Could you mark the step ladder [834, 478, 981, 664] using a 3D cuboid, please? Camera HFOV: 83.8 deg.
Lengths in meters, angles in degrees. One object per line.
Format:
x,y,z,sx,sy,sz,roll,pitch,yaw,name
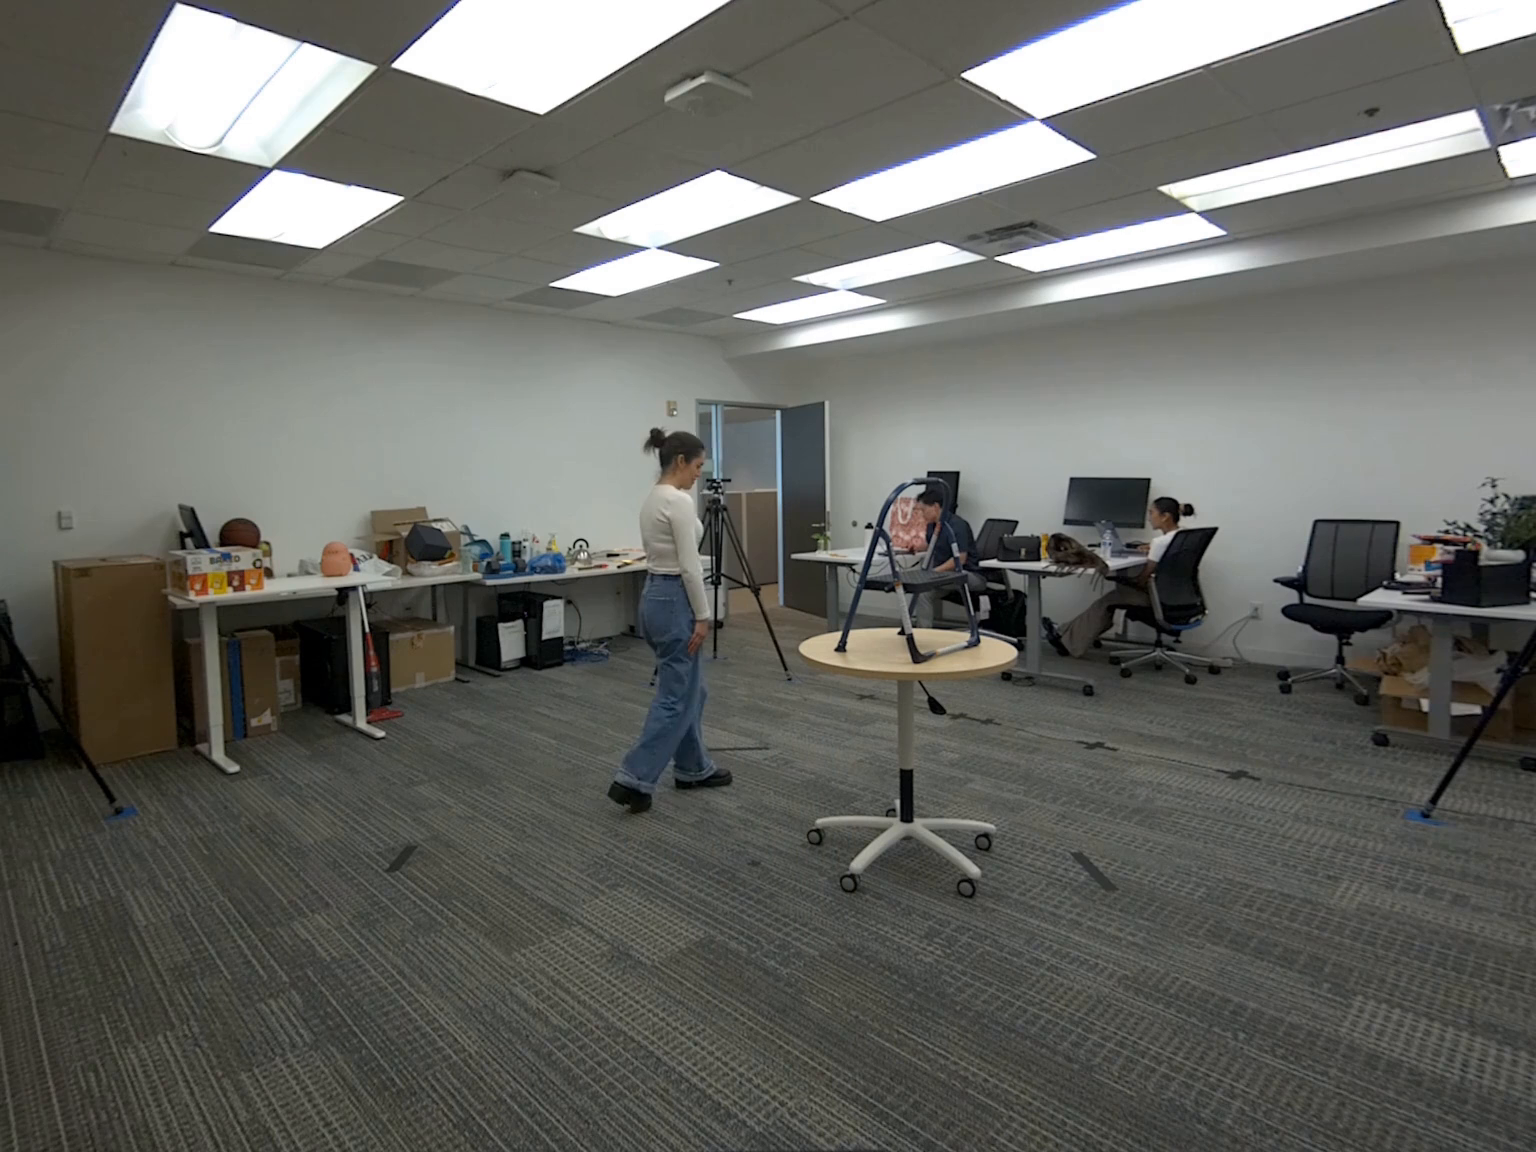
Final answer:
0.500,-0.042,3.050,0.360,0.603,0.419,3,7,43,step ladder
